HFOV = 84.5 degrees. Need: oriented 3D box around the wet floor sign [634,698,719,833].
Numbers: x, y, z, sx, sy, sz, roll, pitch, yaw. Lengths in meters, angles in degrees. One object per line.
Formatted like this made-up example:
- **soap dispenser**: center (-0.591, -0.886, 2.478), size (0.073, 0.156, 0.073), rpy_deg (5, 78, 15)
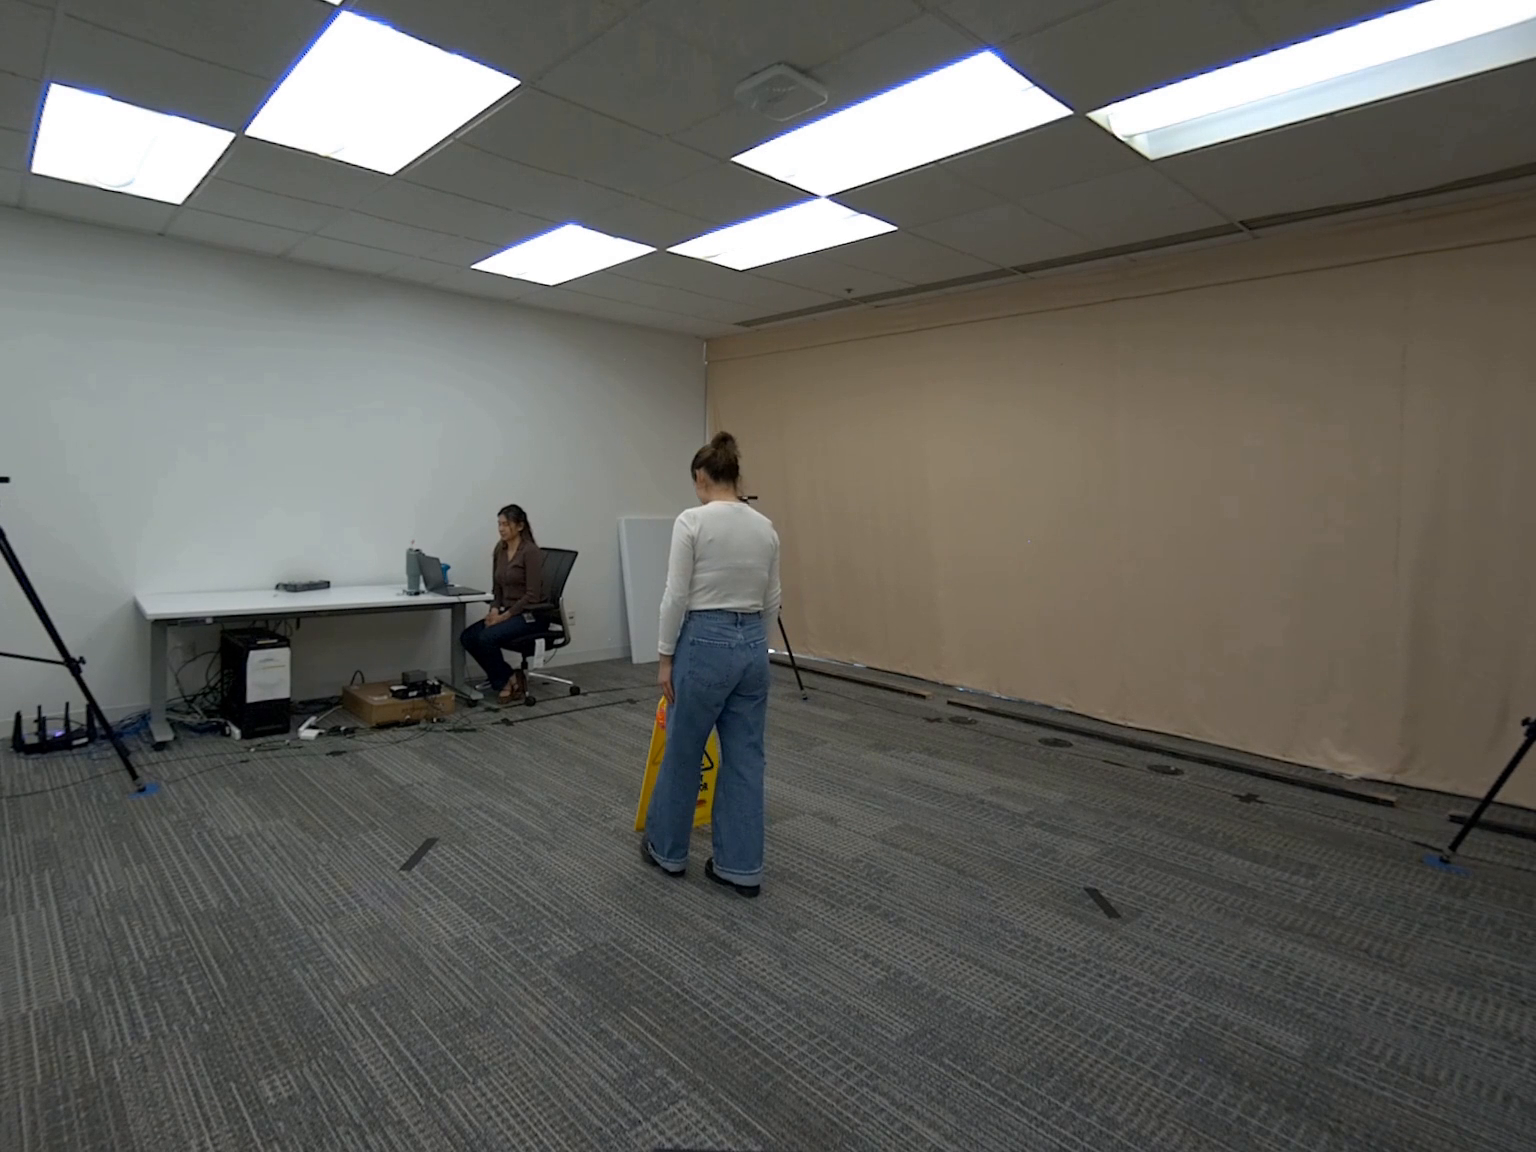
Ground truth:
- **wet floor sign**: center (-0.351, 0.745, 3.459), size (0.276, 0.644, 0.297), rpy_deg (-1, 5, -42)
